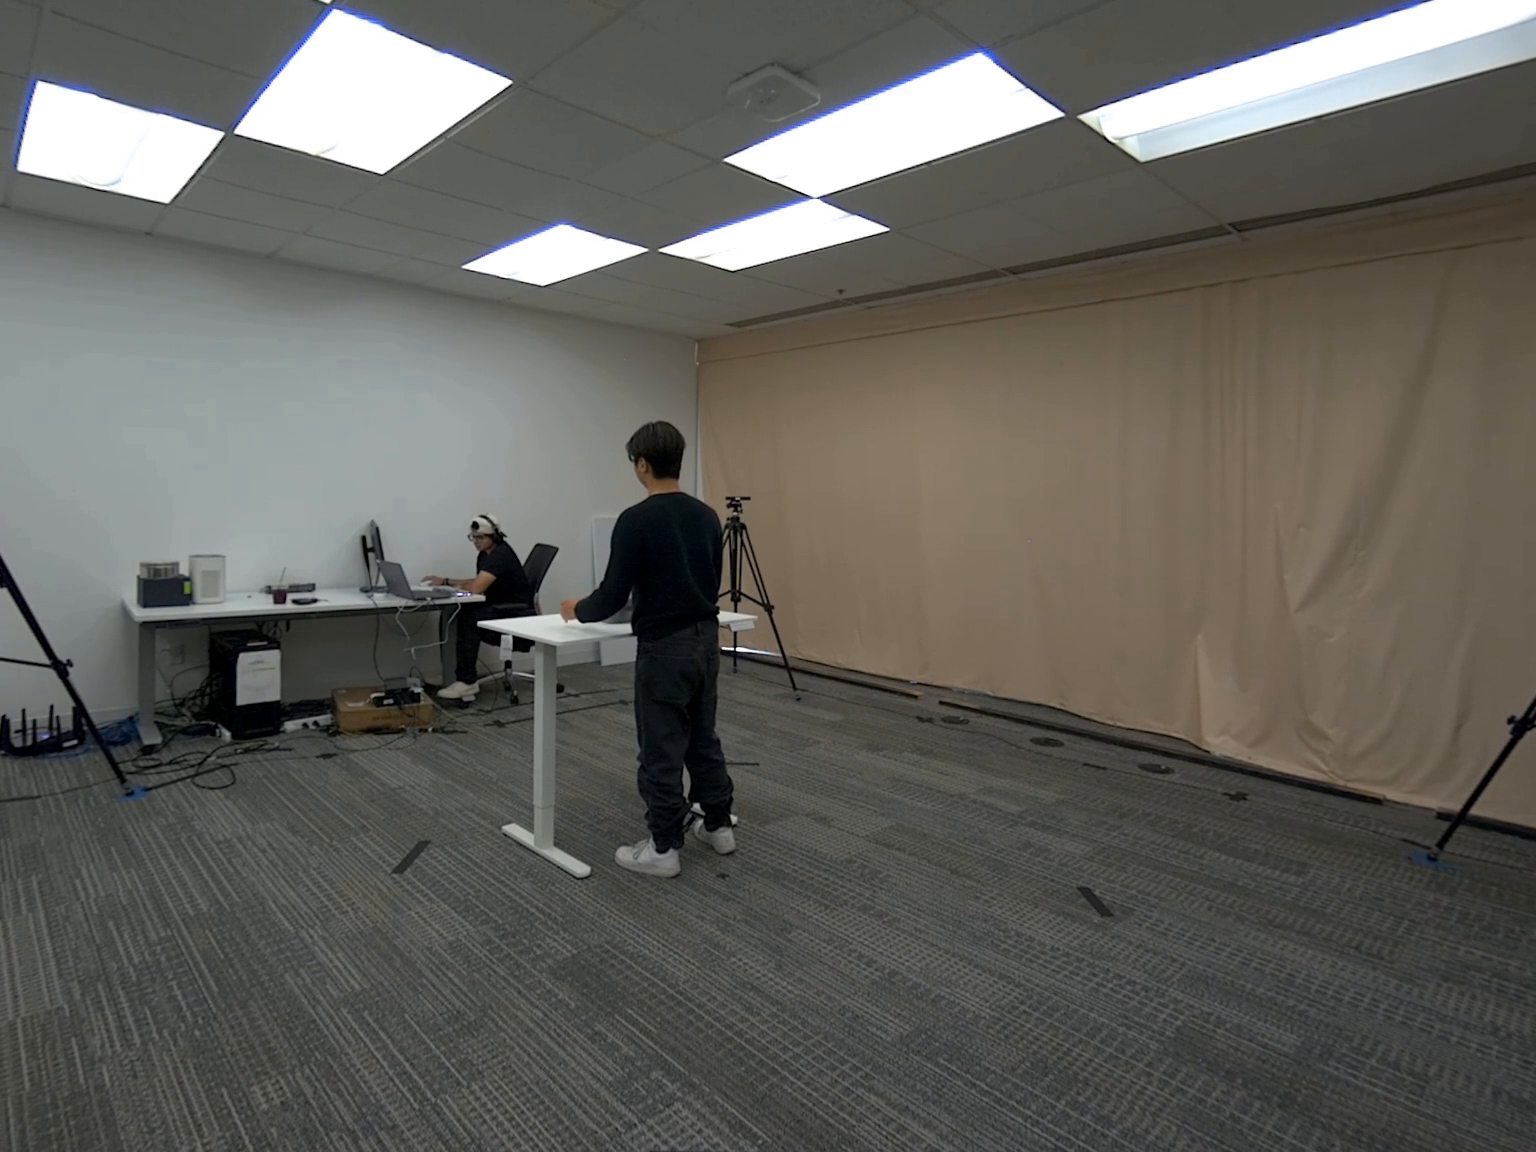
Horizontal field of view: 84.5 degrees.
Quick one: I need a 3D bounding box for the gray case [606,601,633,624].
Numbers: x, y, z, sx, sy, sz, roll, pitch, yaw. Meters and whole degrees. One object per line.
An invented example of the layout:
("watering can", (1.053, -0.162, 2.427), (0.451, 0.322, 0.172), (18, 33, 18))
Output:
("gray case", (-0.613, 0.131, 3.500), (0.251, 0.104, 0.267), (-2, 6, -43))
